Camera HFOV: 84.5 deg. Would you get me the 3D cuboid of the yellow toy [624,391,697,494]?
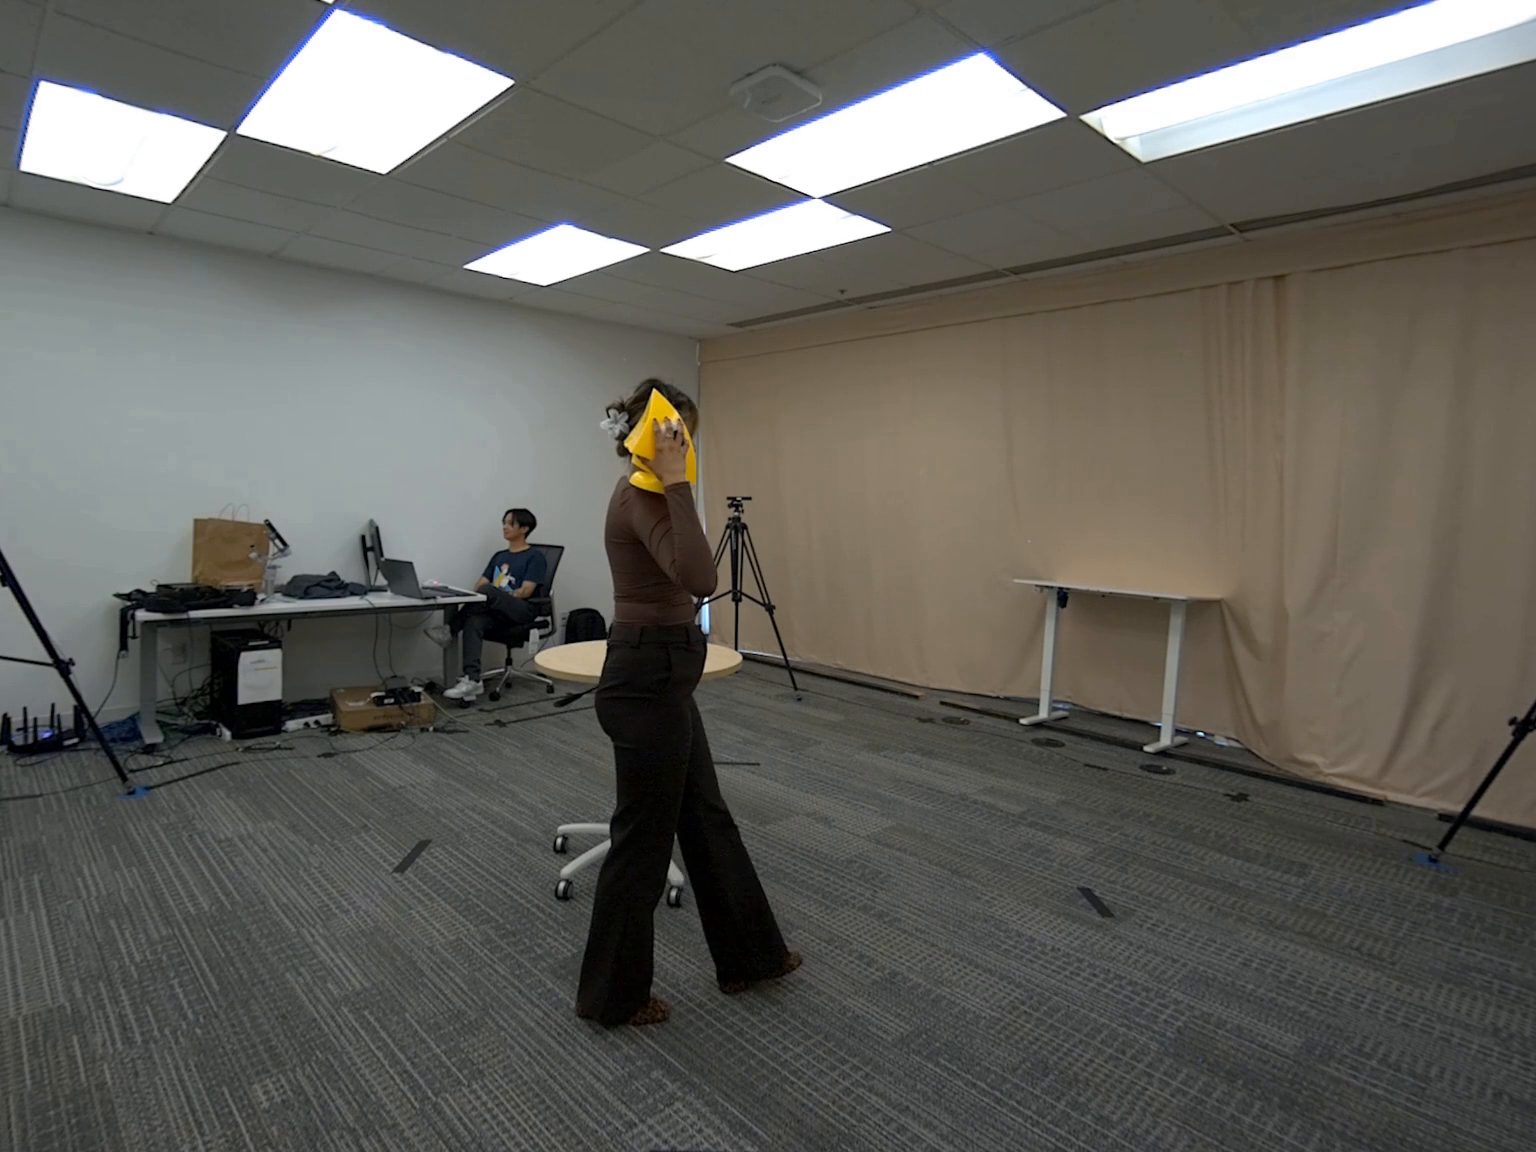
[{"bbox_3d":[-0.263,-0.331,2.058,0.190,0.229,0.209,12,12,-15],"label":"yellow toy"}]
